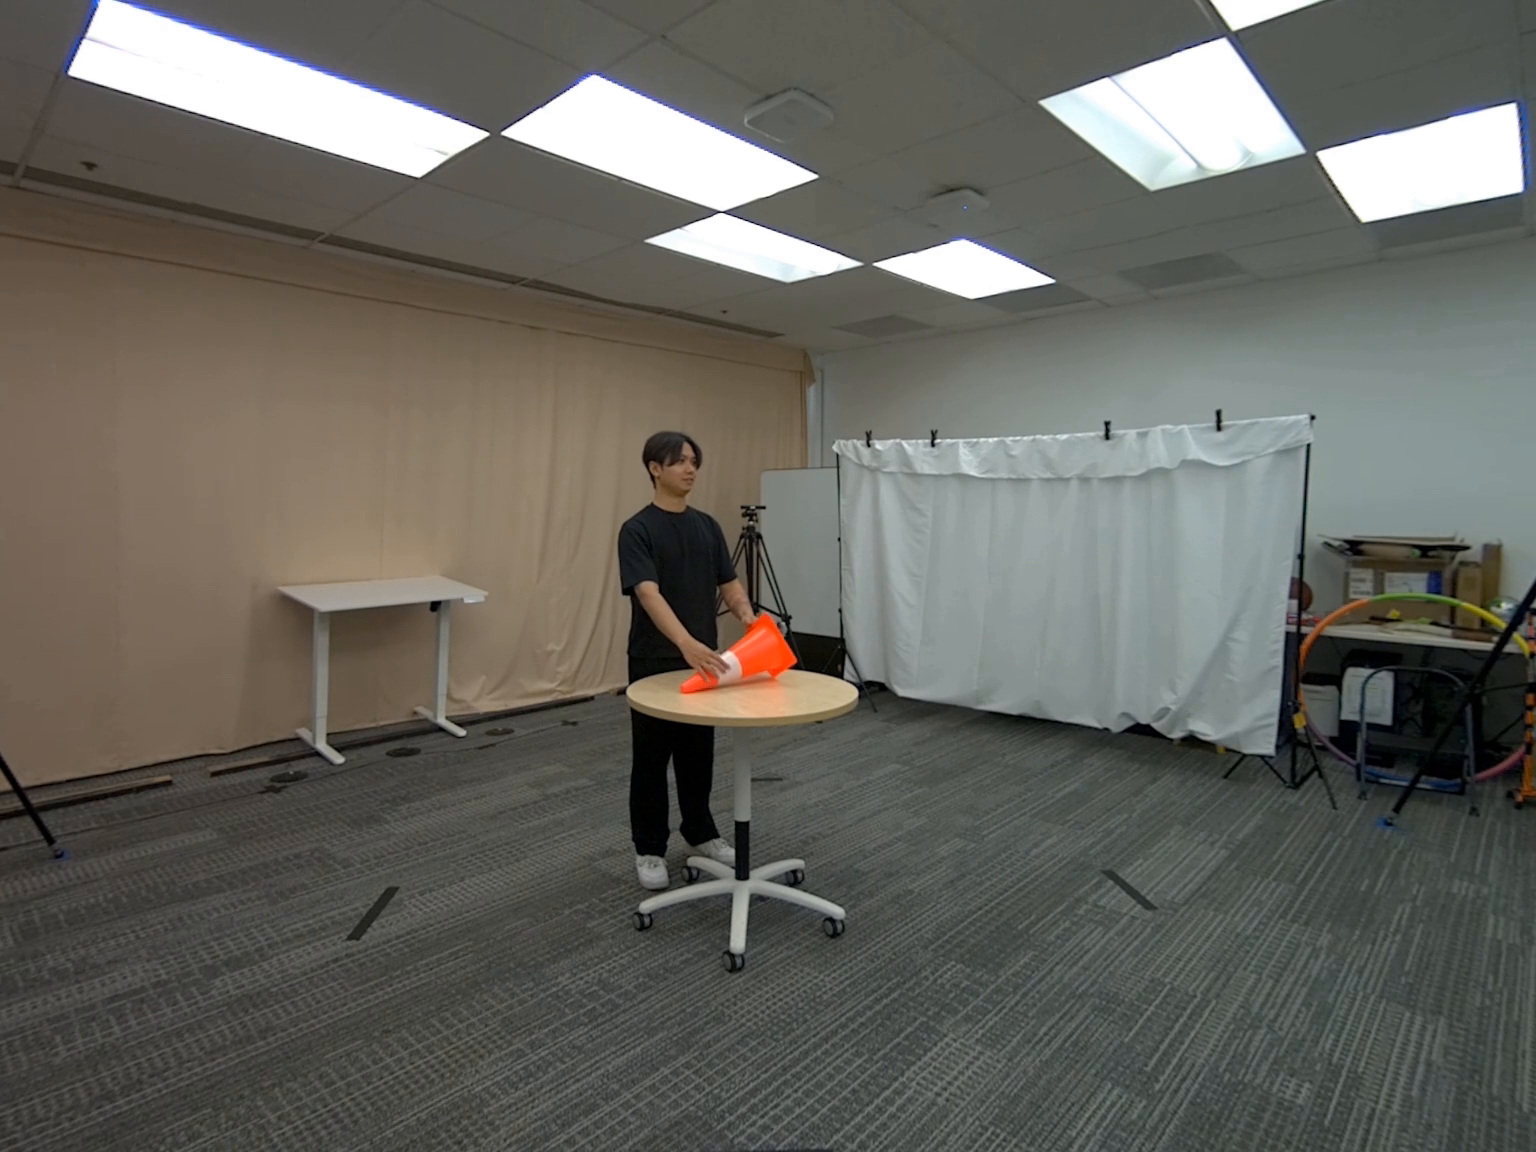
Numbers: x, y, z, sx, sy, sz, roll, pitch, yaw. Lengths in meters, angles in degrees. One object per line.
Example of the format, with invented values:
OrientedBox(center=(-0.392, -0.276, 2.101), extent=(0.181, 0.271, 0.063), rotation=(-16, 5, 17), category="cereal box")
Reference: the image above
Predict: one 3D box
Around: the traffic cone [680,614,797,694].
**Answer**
OrientedBox(center=(-0.133, 0.309, 2.836), extent=(0.376, 0.207, 0.205), rotation=(-23, -12, -33), category="traffic cone")
